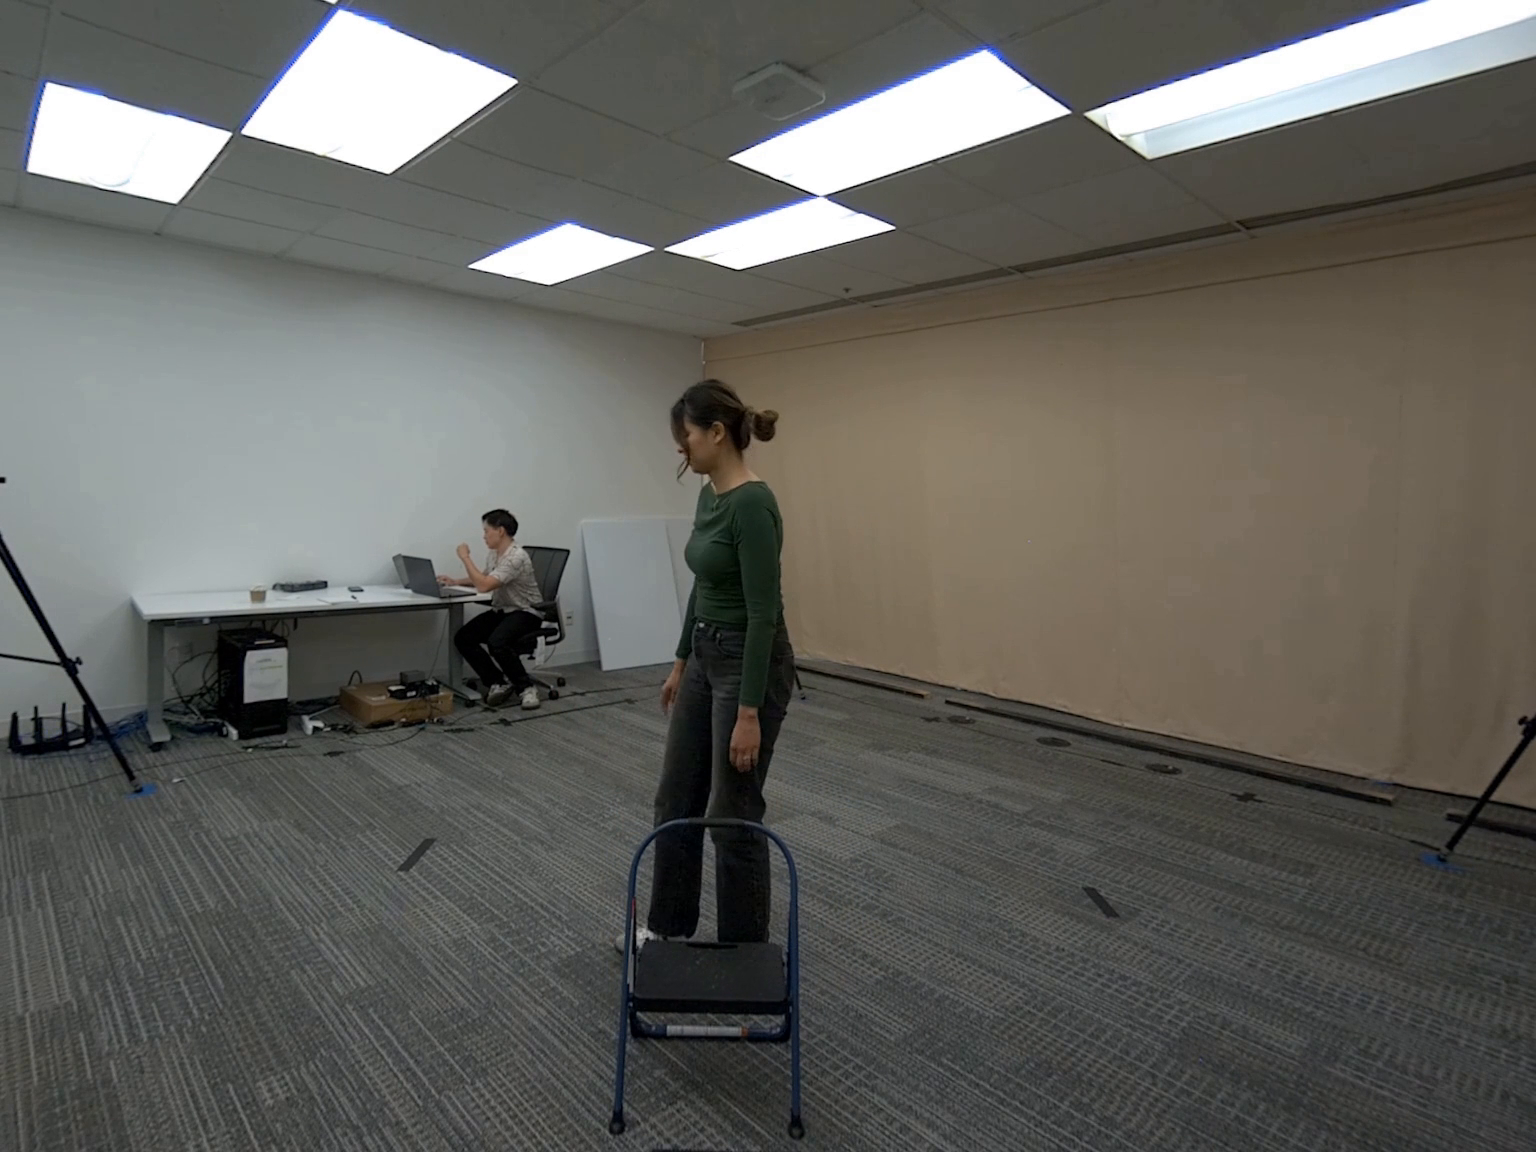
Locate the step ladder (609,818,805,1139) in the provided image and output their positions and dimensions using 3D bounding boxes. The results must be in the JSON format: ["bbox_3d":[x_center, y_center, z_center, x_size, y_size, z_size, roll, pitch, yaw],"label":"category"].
[{"bbox_3d":[-0.137,0.909,1.989,0.430,0.604,0.350,2,3,-2],"label":"step ladder"}]
